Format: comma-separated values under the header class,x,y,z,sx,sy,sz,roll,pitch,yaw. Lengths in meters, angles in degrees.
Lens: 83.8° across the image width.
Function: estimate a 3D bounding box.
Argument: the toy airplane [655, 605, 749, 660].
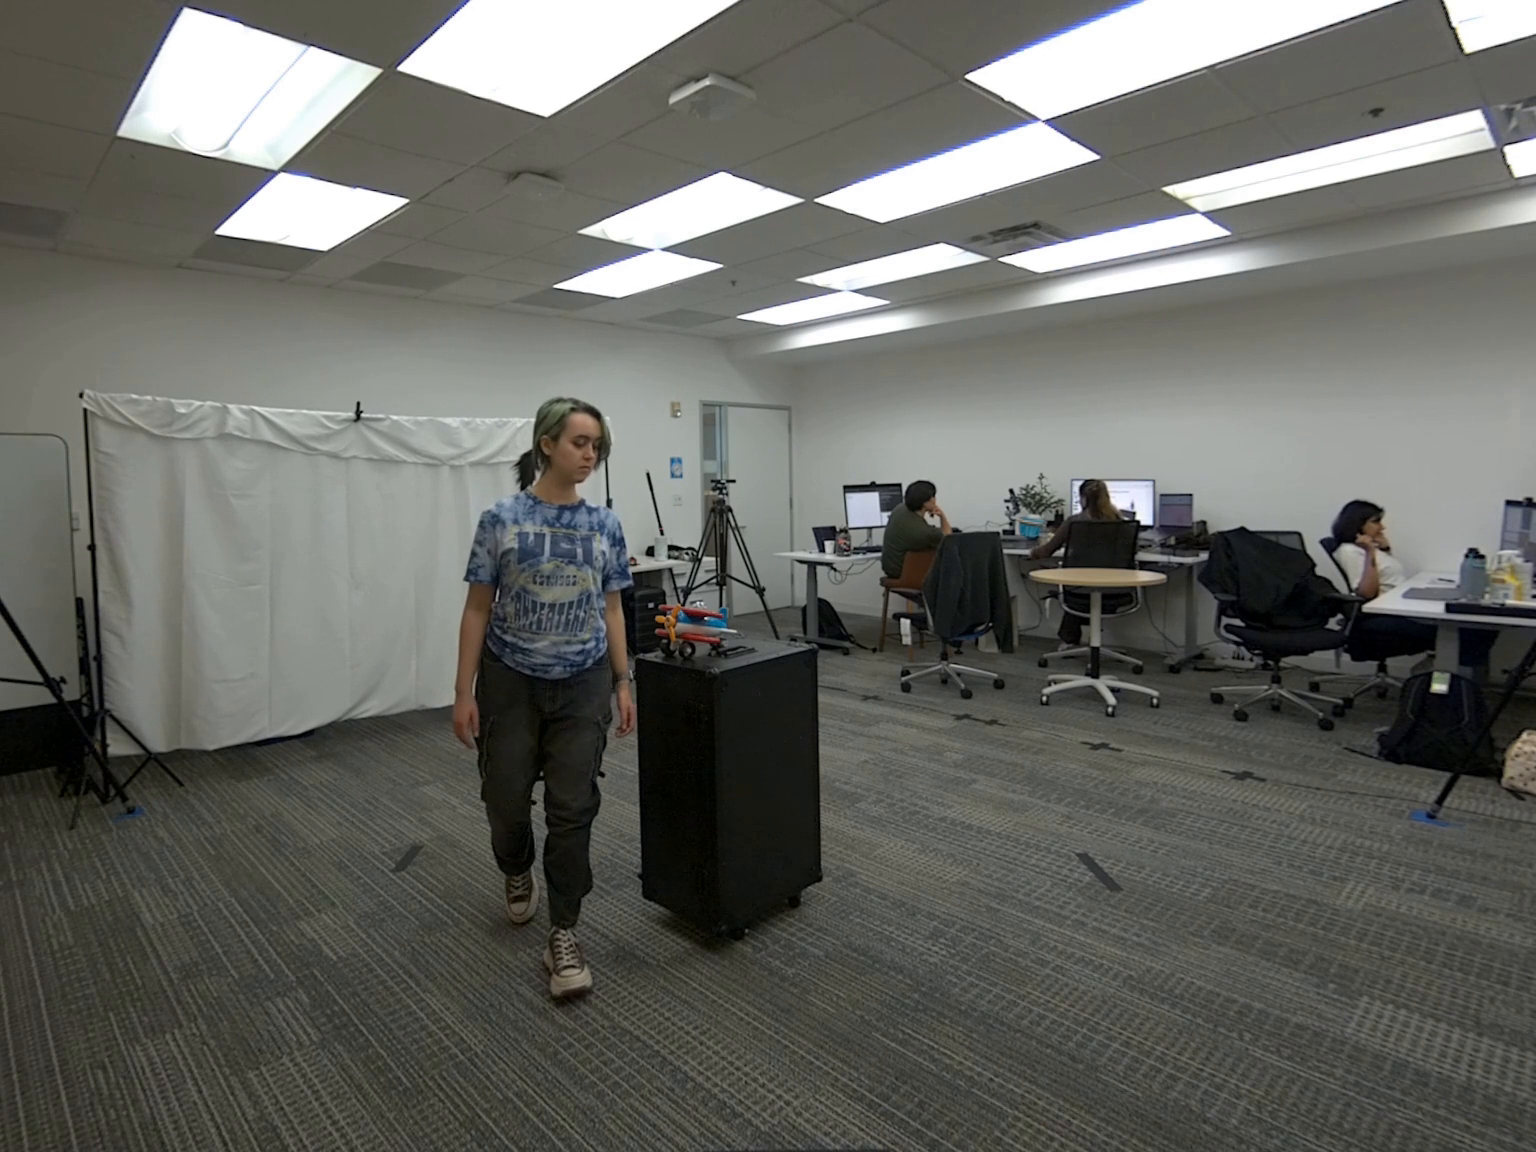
class,x,y,z,sx,sy,sz,roll,pitch,yaw
toy airplane,-0.241,0.166,2.734,0.255,0.155,0.257,0,7,15
